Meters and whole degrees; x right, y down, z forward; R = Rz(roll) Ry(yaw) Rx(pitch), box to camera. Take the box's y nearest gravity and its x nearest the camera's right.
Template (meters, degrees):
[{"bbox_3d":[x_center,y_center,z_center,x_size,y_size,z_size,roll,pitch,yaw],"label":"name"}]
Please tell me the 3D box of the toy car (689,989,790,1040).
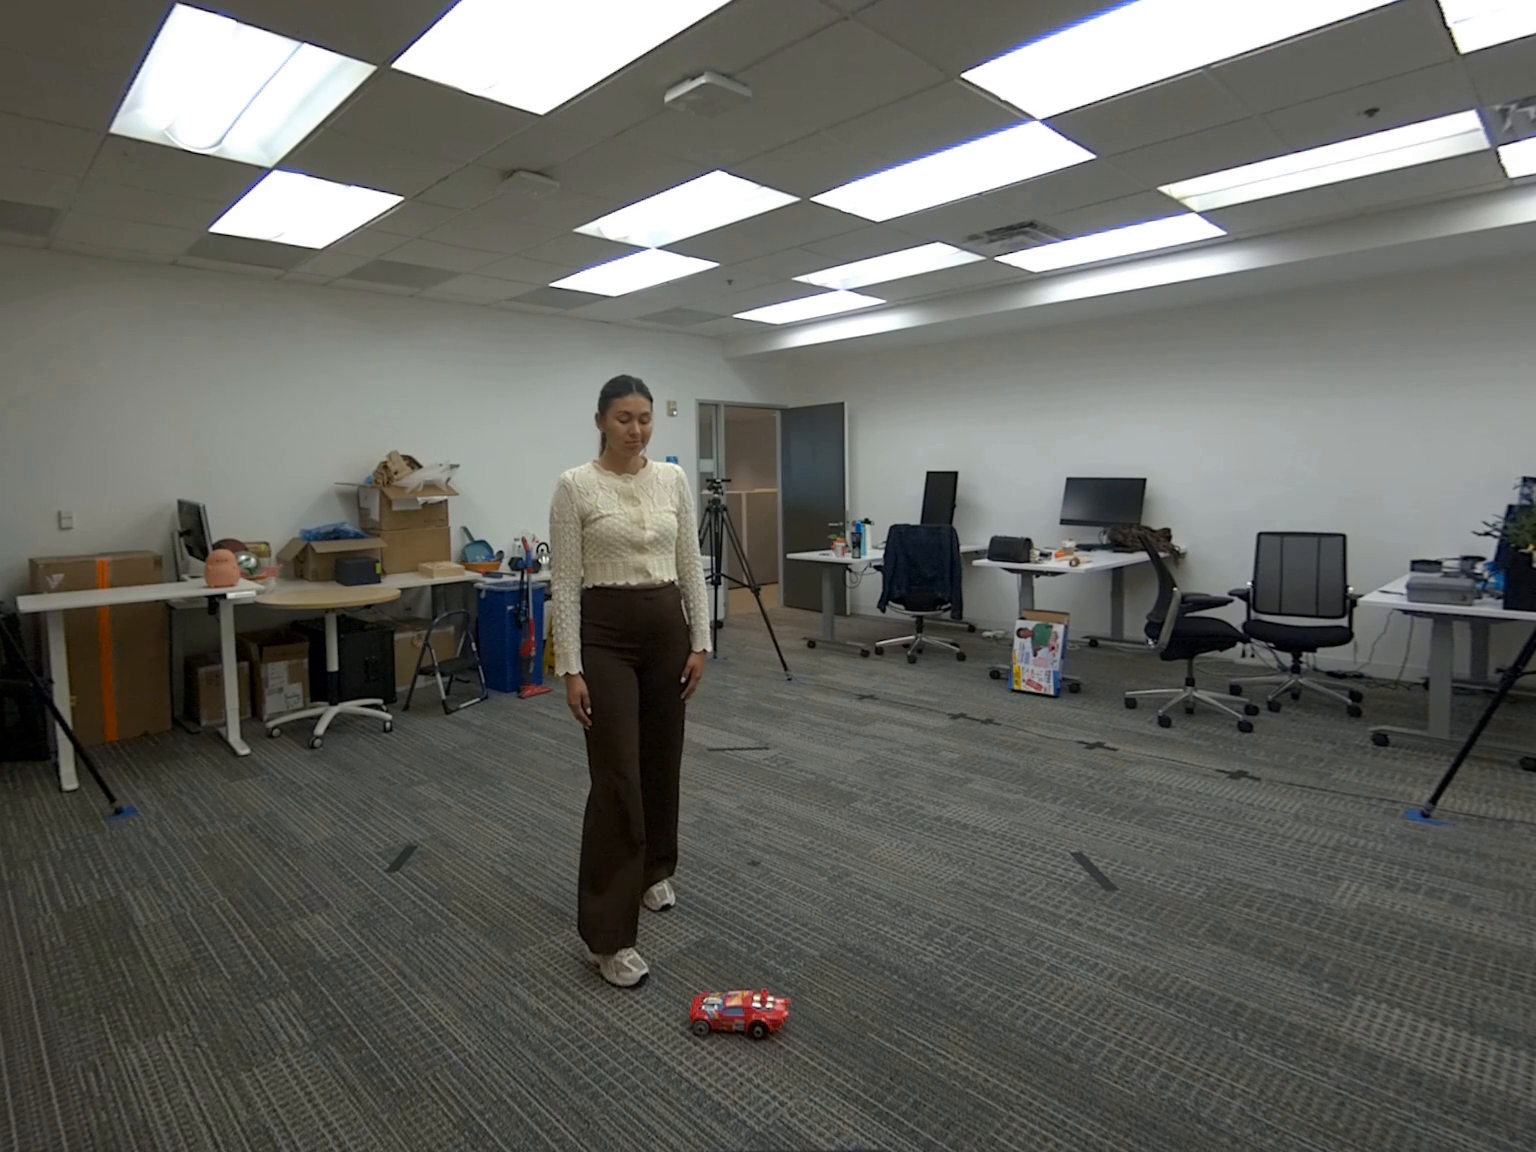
[{"bbox_3d":[-0.058,1.122,2.185,0.256,0.083,0.130,-12,4,9],"label":"toy car"}]
